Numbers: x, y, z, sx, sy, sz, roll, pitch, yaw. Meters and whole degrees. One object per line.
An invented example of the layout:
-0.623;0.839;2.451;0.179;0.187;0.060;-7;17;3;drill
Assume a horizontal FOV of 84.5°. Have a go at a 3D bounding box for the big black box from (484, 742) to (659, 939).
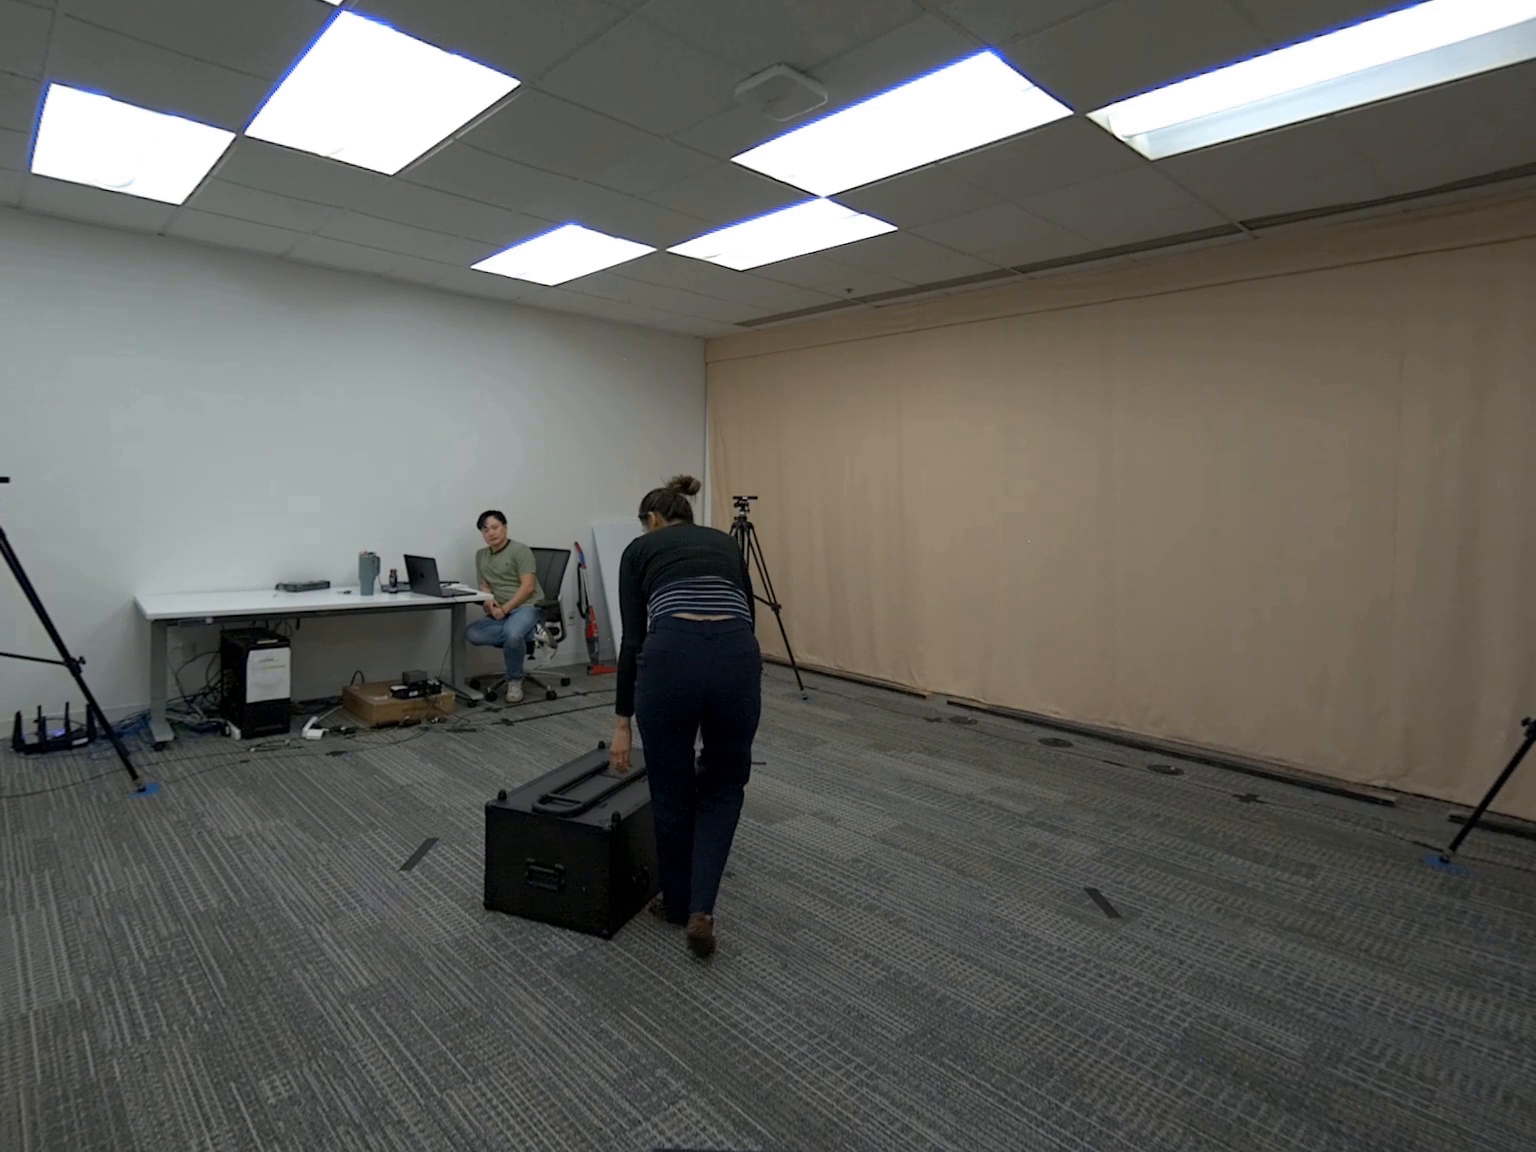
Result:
-0.577;0.897;3.098;0.530;0.395;0.848;3;4;21;big black box
